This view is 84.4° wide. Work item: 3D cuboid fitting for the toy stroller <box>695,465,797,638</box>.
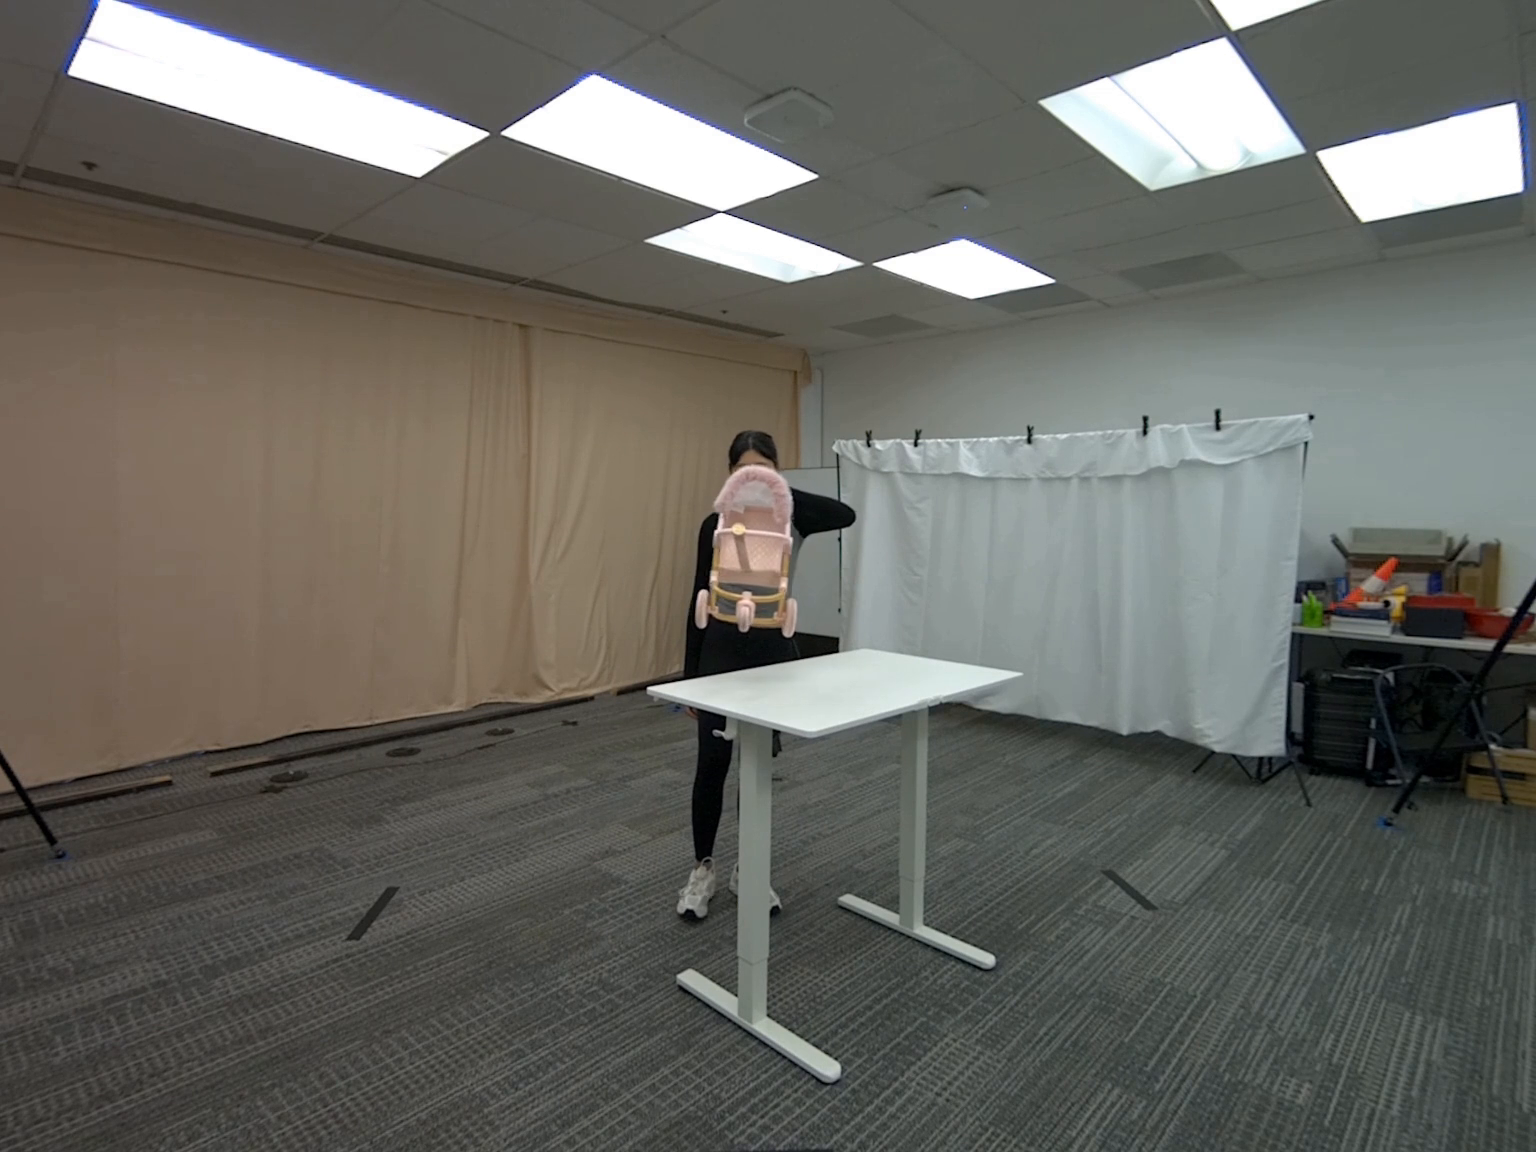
[{"bbox_3d":[-0.053,-0.068,2.341,0.283,0.540,0.336,5,-19,4],"label":"toy stroller"}]
